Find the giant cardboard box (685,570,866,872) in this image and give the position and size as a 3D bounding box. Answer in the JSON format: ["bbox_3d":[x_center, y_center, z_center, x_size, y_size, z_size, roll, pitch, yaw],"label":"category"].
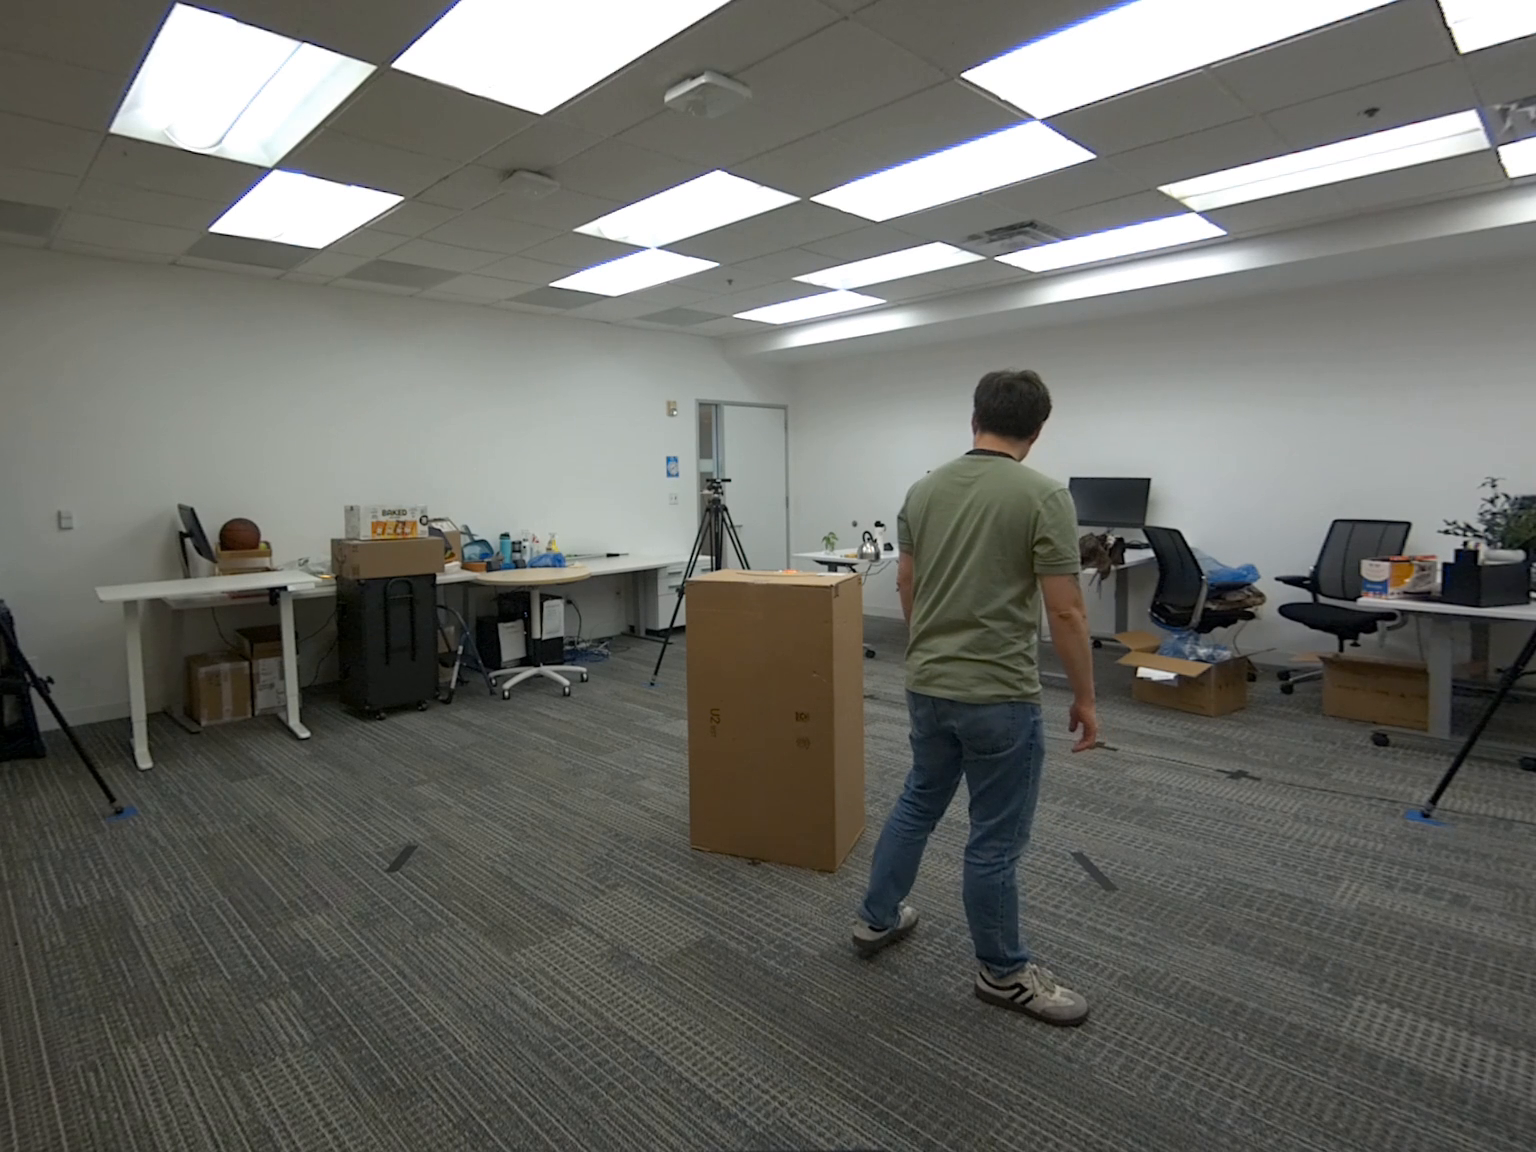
[{"bbox_3d":[0.036,0.509,3.295,0.590,1.023,0.418,1,4,23],"label":"giant cardboard box"}]
